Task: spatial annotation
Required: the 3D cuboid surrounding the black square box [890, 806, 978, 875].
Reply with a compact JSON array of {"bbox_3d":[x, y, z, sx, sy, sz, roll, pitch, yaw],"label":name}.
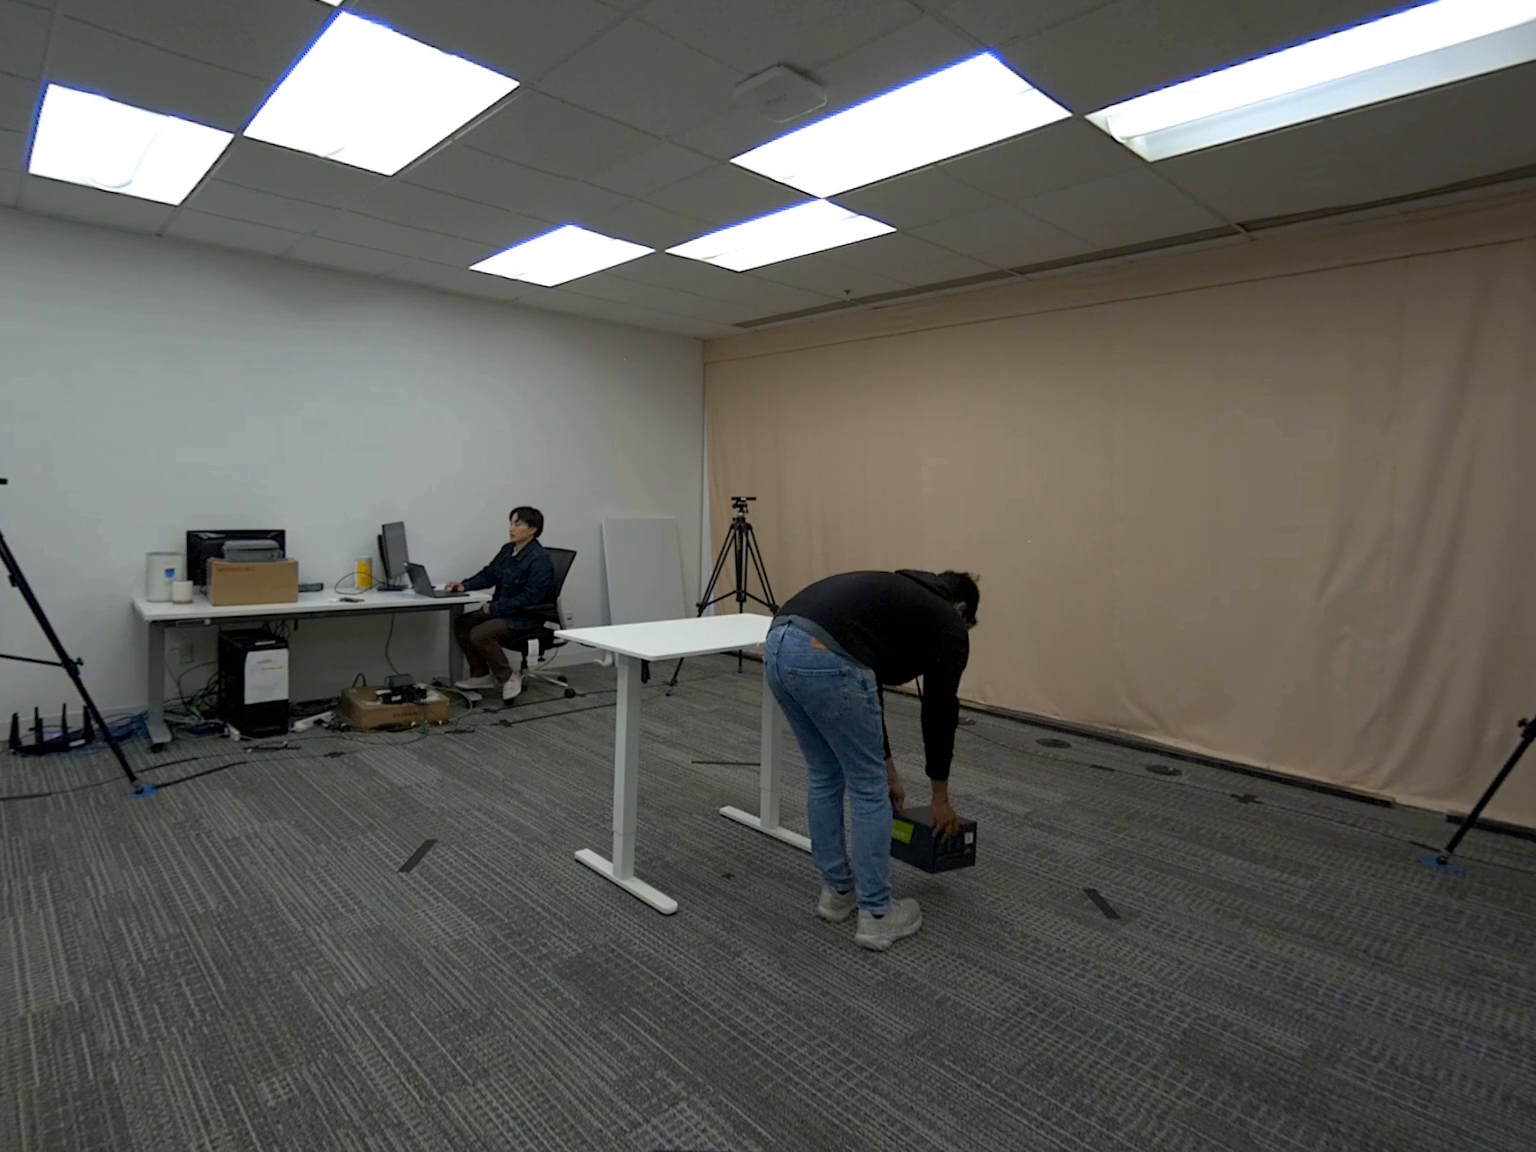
[{"bbox_3d":[0.573,0.915,2.996,0.212,0.156,0.233,3,-1,-35],"label":"black square box"}]
